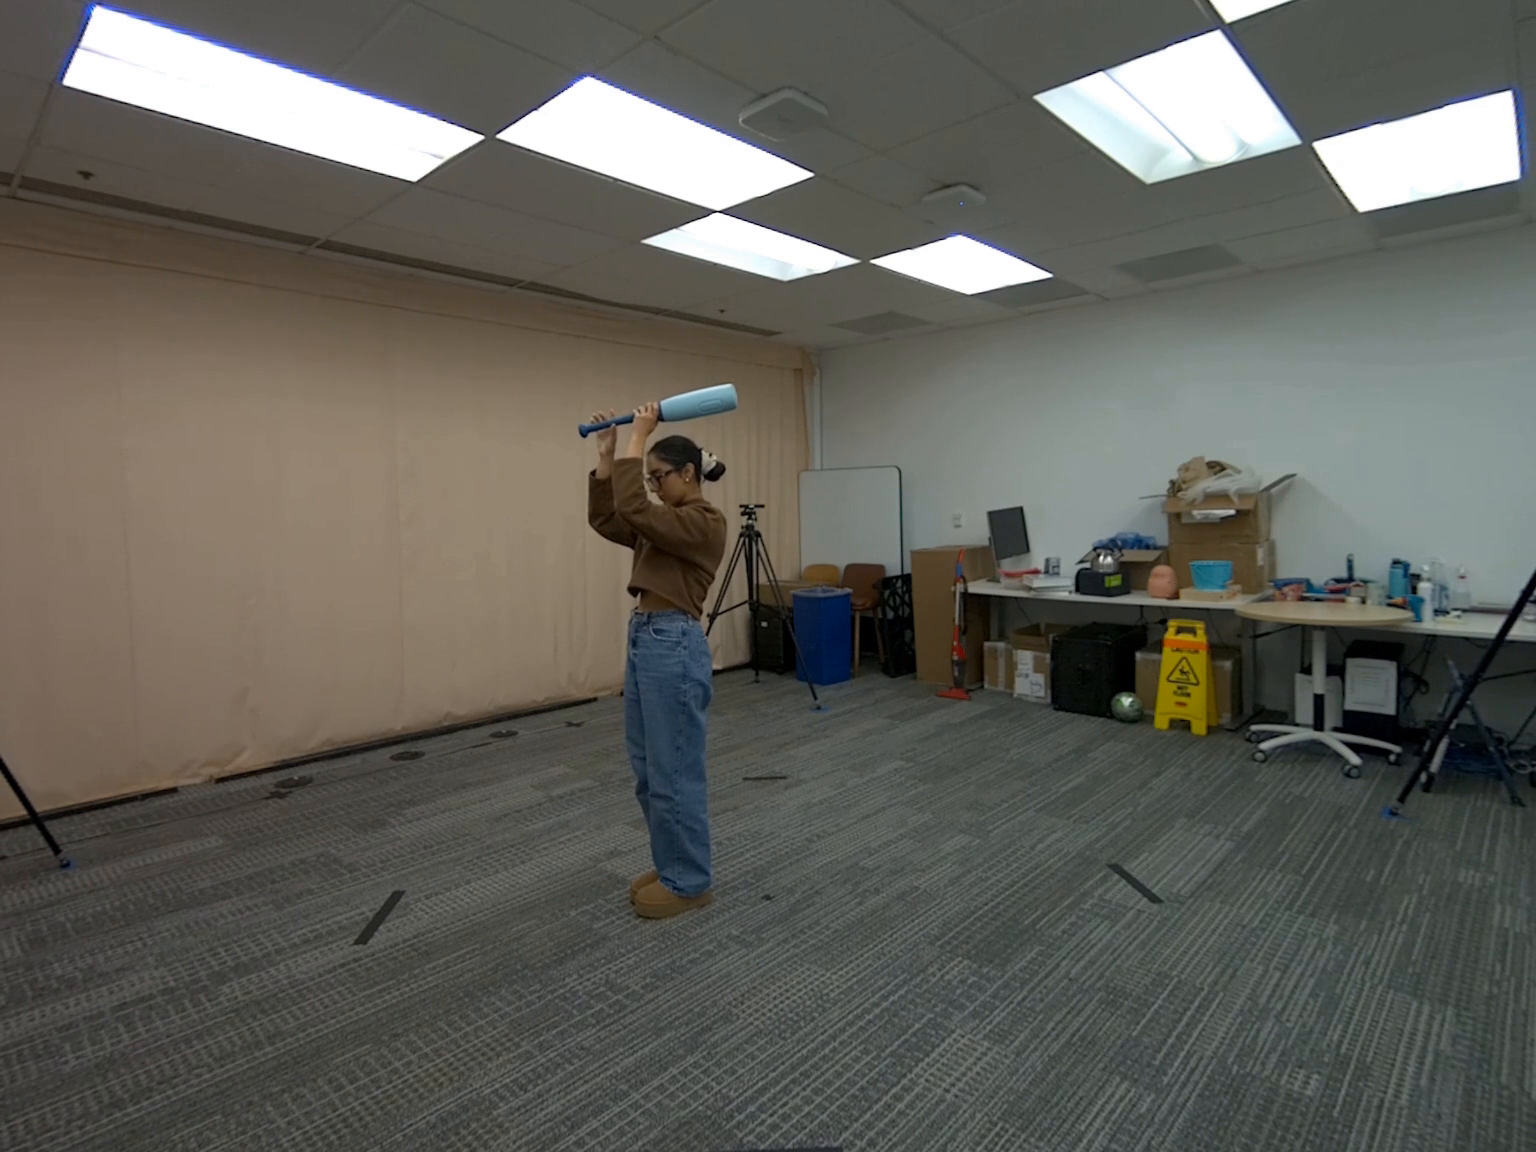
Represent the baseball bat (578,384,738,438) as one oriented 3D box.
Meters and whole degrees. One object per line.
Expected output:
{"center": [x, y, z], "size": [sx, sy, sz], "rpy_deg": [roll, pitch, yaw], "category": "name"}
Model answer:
{"center": [-0.364, -0.543, 2.809], "size": [0.546, 0.089, 0.089], "rpy_deg": [-11, 3, 6], "category": "baseball bat"}
